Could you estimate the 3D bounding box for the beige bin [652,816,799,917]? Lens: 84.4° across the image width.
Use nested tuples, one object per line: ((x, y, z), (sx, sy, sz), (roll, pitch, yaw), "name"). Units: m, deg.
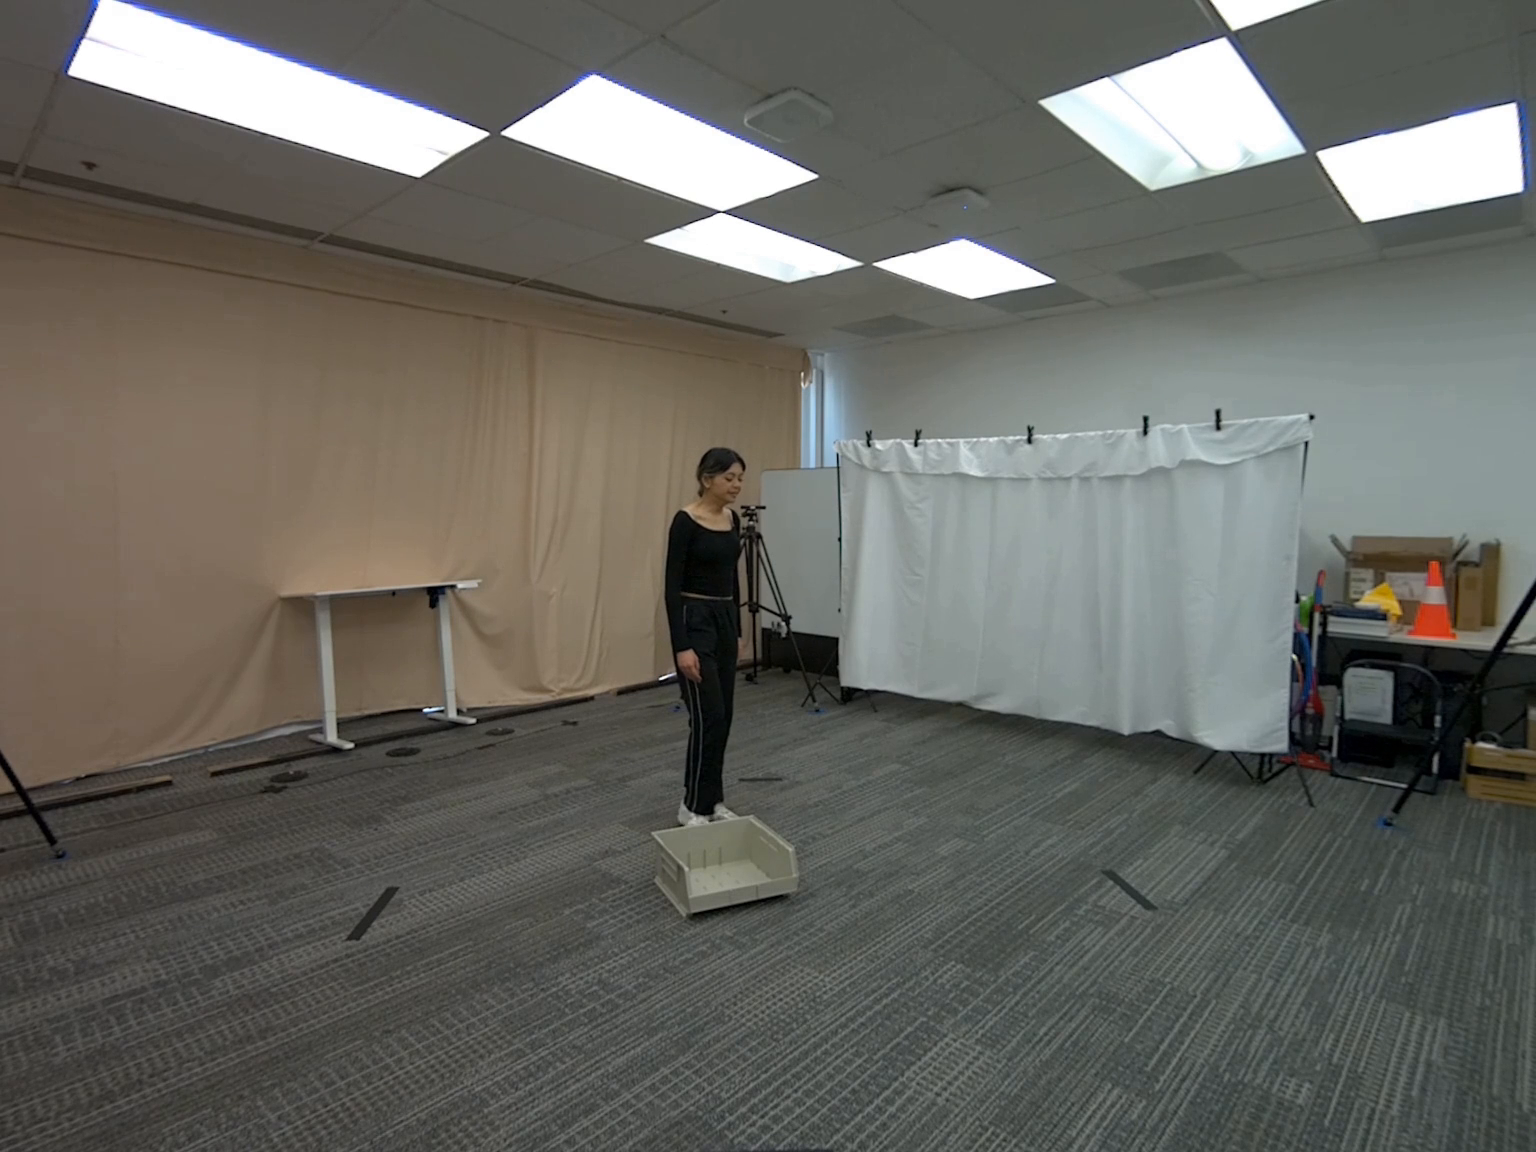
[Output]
((-0.158, 1.051, 3.049), (0.413, 0.188, 0.387), (-3, 5, -25), "beige bin")
